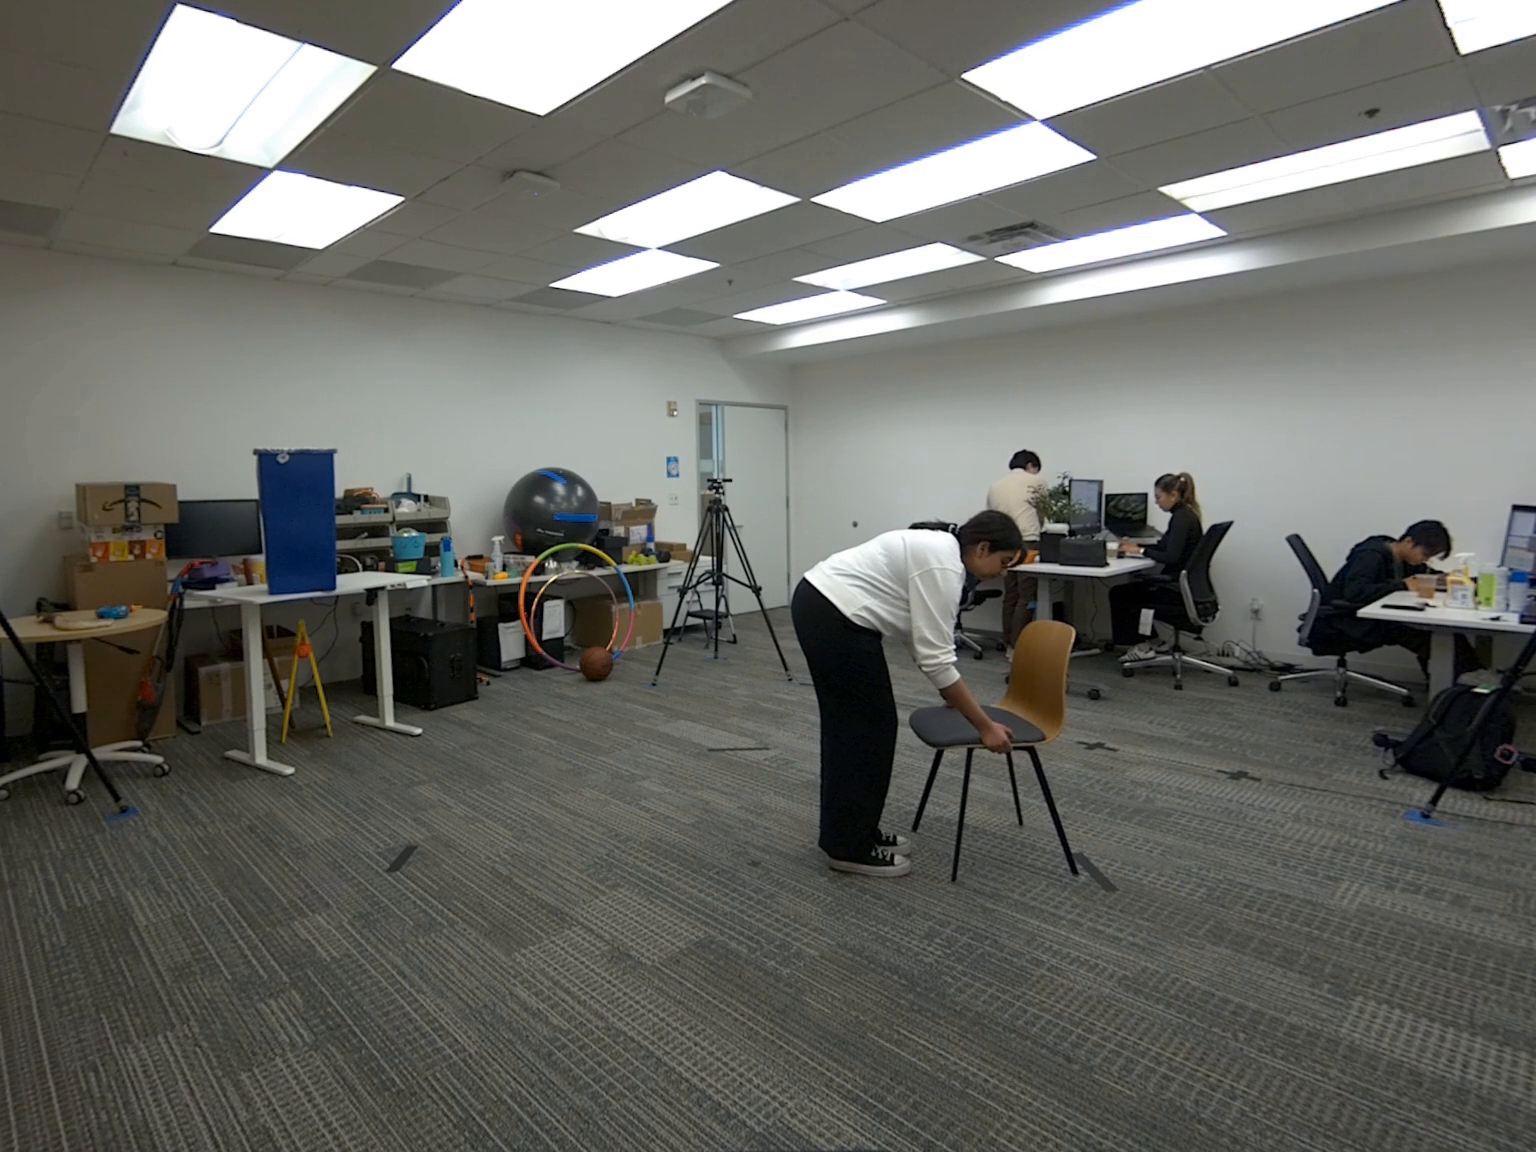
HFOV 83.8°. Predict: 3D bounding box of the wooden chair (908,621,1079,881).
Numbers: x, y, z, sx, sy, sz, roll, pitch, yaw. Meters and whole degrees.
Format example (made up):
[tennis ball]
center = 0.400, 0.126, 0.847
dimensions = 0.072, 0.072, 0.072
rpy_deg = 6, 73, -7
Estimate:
[wooden chair]
center = 0.804, 0.593, 3.144
dimensions = 0.520, 0.874, 0.483
rpy_deg = 3, 4, -7
